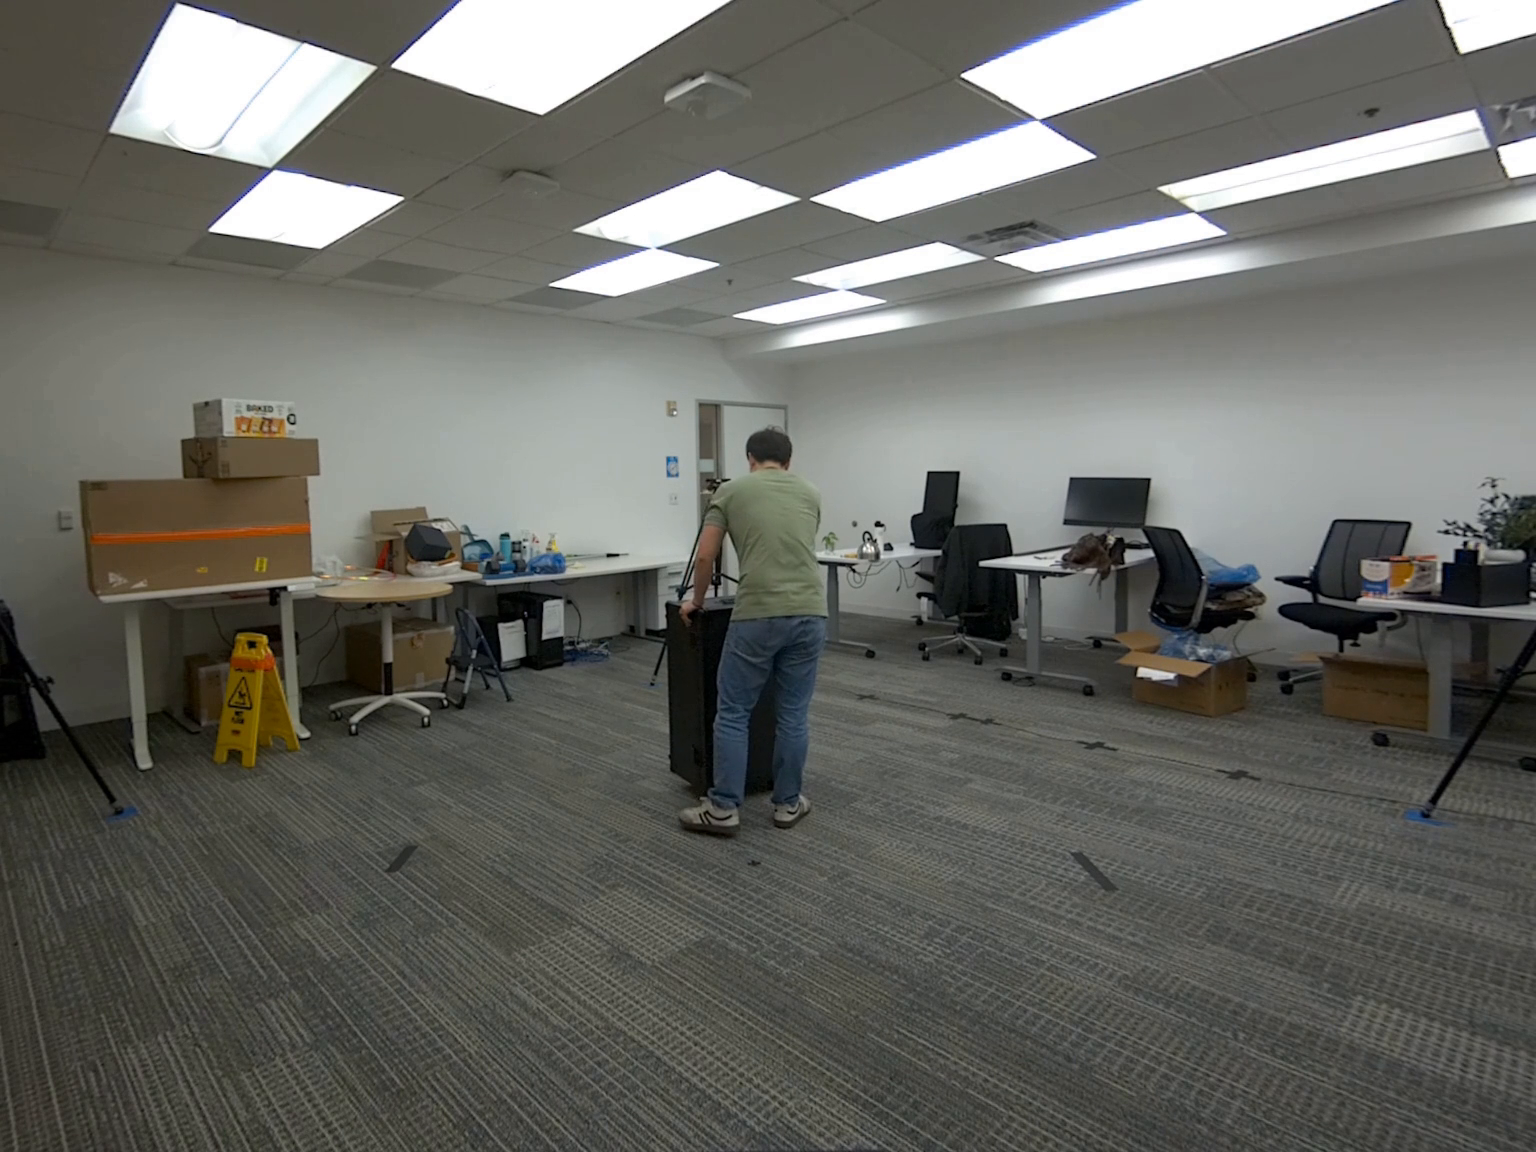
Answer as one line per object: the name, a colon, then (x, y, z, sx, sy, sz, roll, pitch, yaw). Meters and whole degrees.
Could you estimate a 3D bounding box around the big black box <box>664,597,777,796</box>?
big black box: (-0.176, 0.539, 3.865, 0.509, 0.859, 0.406, -3, 4, -29)
